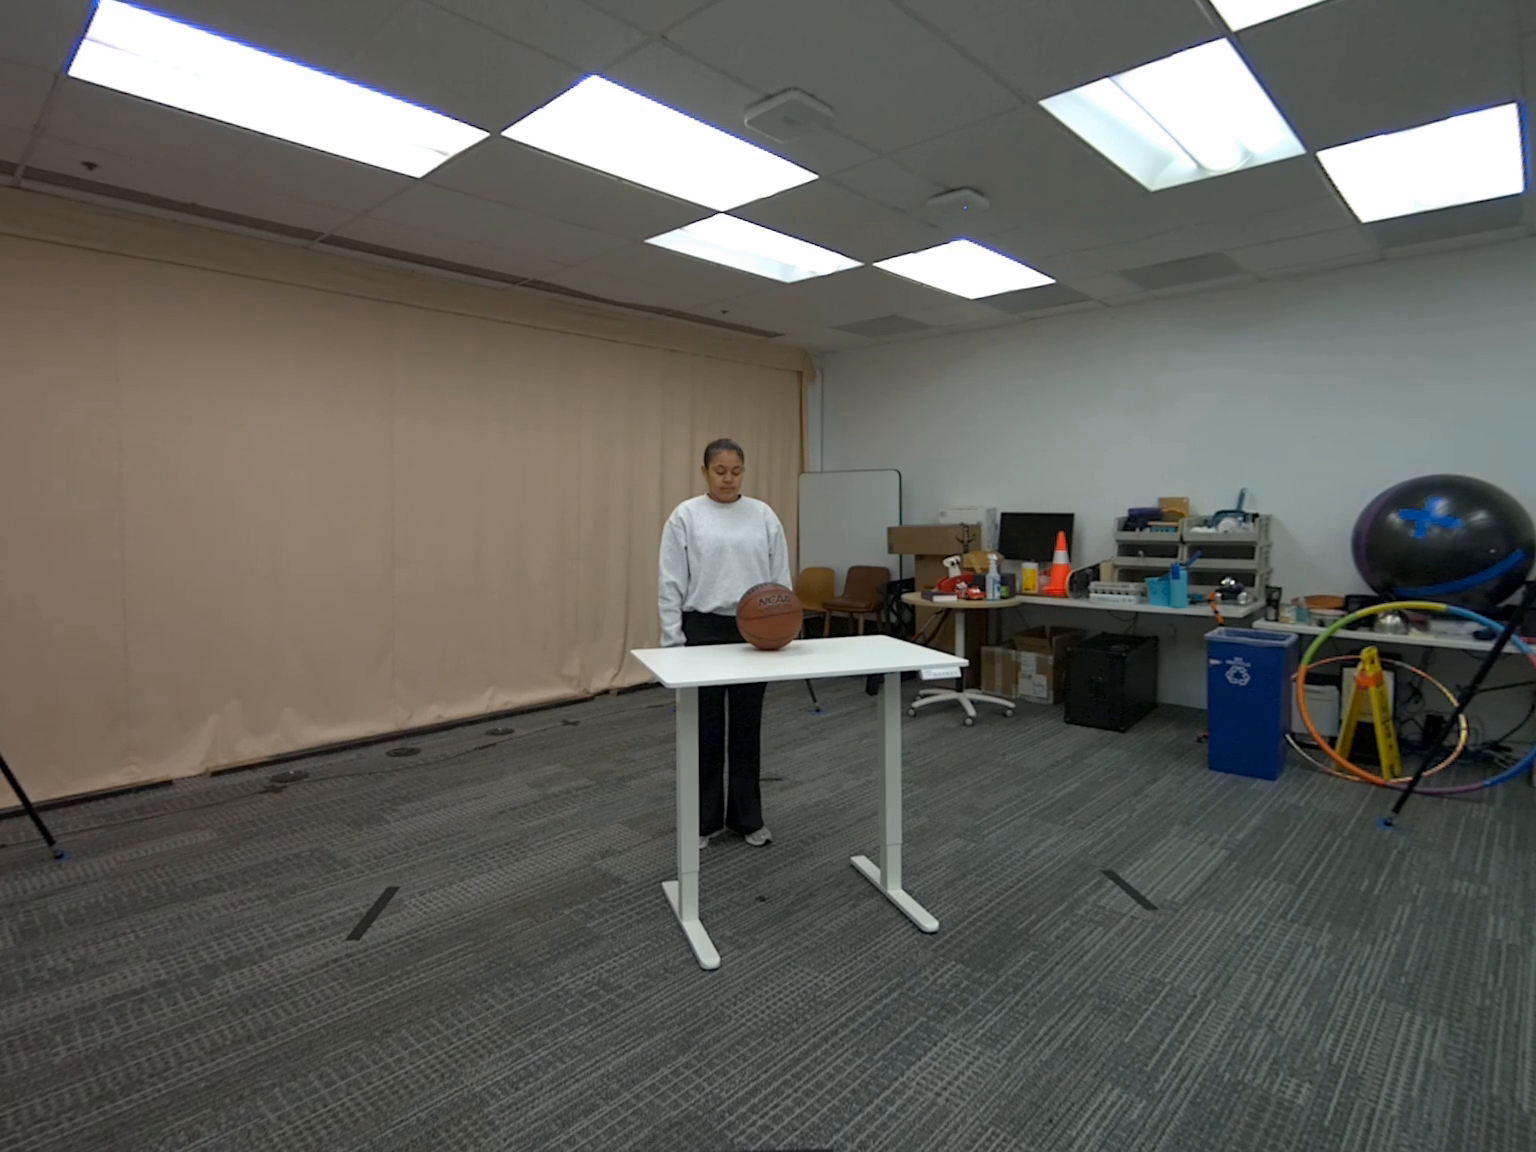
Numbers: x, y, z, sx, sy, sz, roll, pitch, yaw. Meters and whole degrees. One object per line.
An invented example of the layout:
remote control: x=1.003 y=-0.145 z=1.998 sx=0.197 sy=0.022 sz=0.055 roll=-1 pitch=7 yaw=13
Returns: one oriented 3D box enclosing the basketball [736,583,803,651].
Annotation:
basketball: x=0.003 y=0.140 z=3.001 sx=0.236 sy=0.235 sz=0.237 roll=0 pitch=4 yaw=-2
